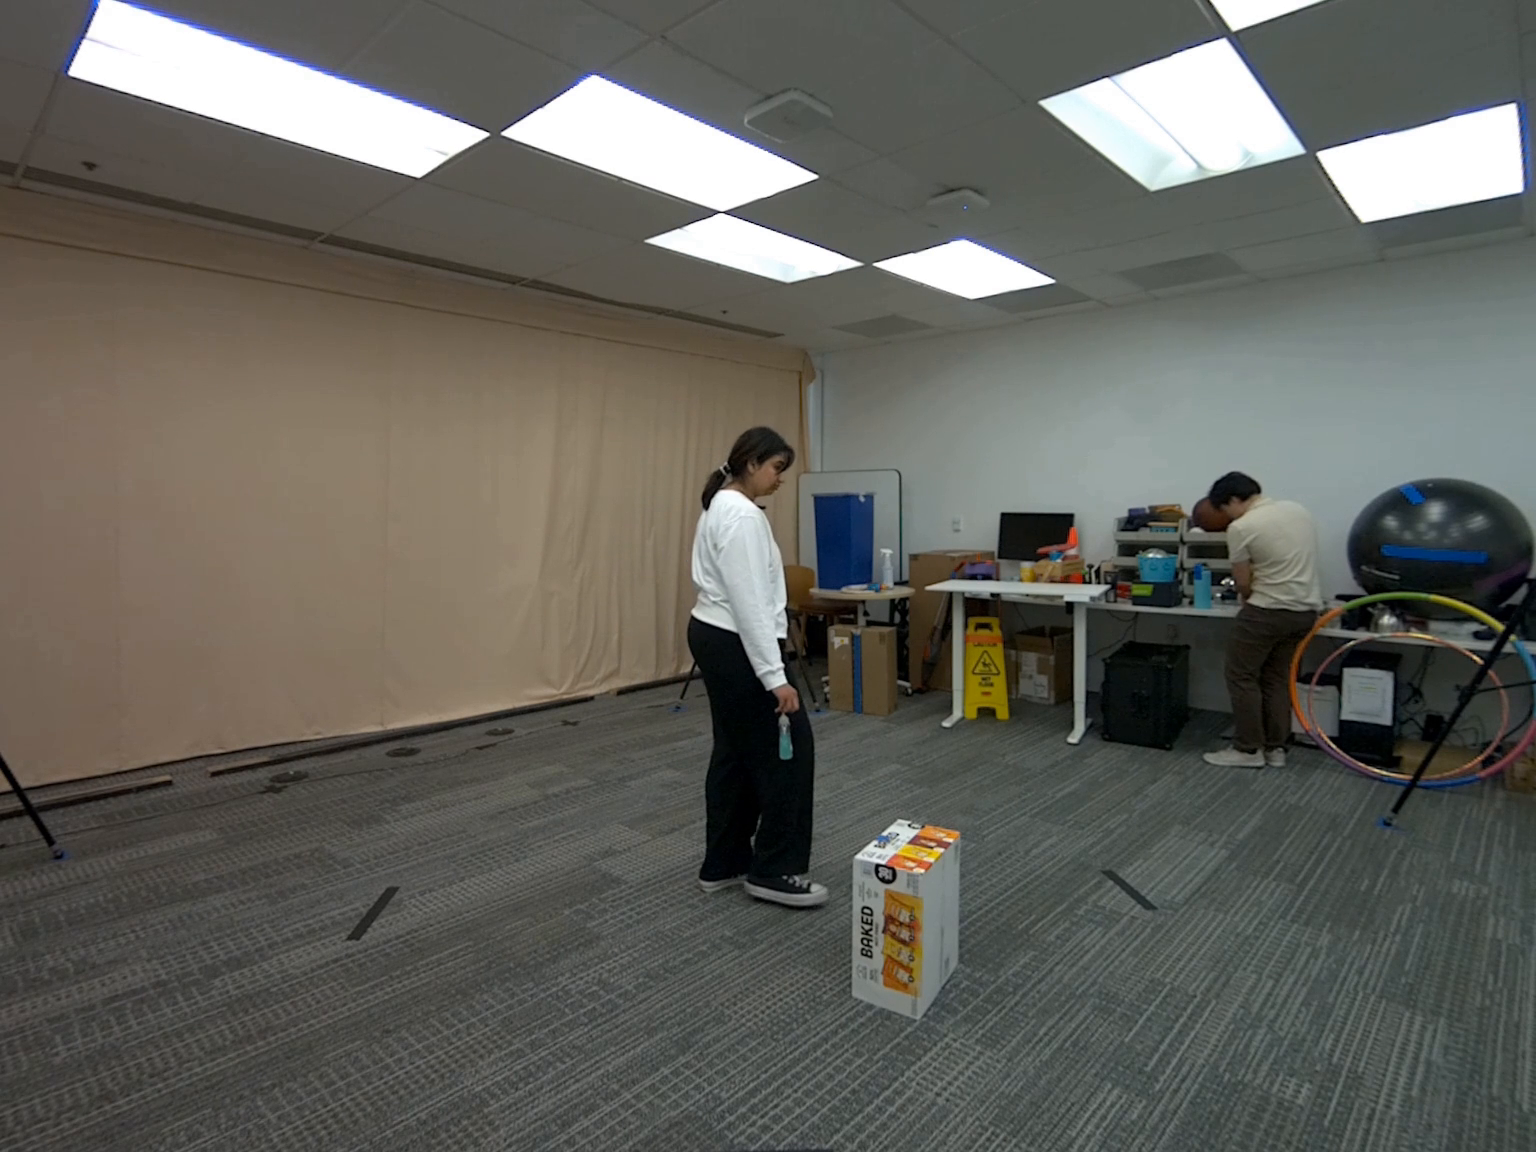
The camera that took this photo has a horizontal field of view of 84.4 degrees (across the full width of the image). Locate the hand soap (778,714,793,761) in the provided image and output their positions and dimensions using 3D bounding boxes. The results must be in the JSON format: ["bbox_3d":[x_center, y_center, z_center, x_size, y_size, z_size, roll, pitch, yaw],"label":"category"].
[{"bbox_3d":[0.071,0.516,2.778,0.043,0.168,0.085,1,3,-2],"label":"hand soap"}]
